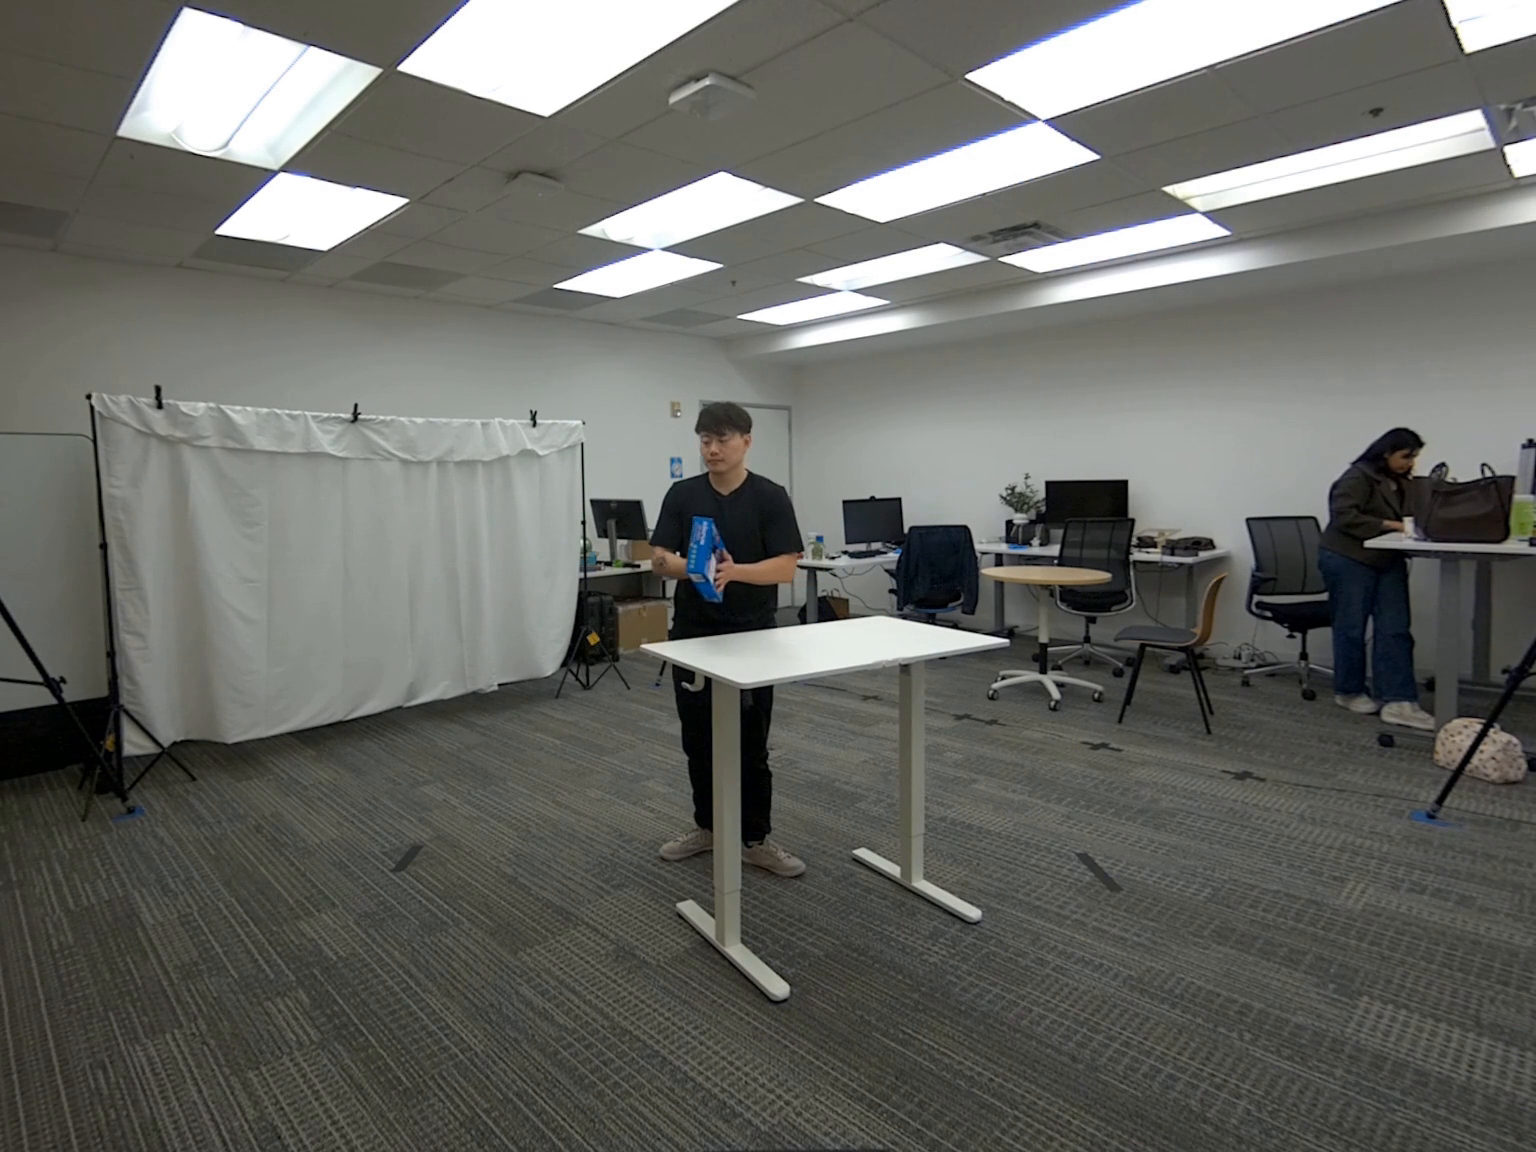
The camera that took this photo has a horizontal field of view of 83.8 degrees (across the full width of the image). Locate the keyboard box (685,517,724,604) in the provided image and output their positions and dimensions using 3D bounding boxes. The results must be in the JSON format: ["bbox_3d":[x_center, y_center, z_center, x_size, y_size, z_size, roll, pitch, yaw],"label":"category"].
[{"bbox_3d":[-0.196,-0.038,2.737,0.059,0.178,0.429,6,-13,4],"label":"keyboard box"}]
